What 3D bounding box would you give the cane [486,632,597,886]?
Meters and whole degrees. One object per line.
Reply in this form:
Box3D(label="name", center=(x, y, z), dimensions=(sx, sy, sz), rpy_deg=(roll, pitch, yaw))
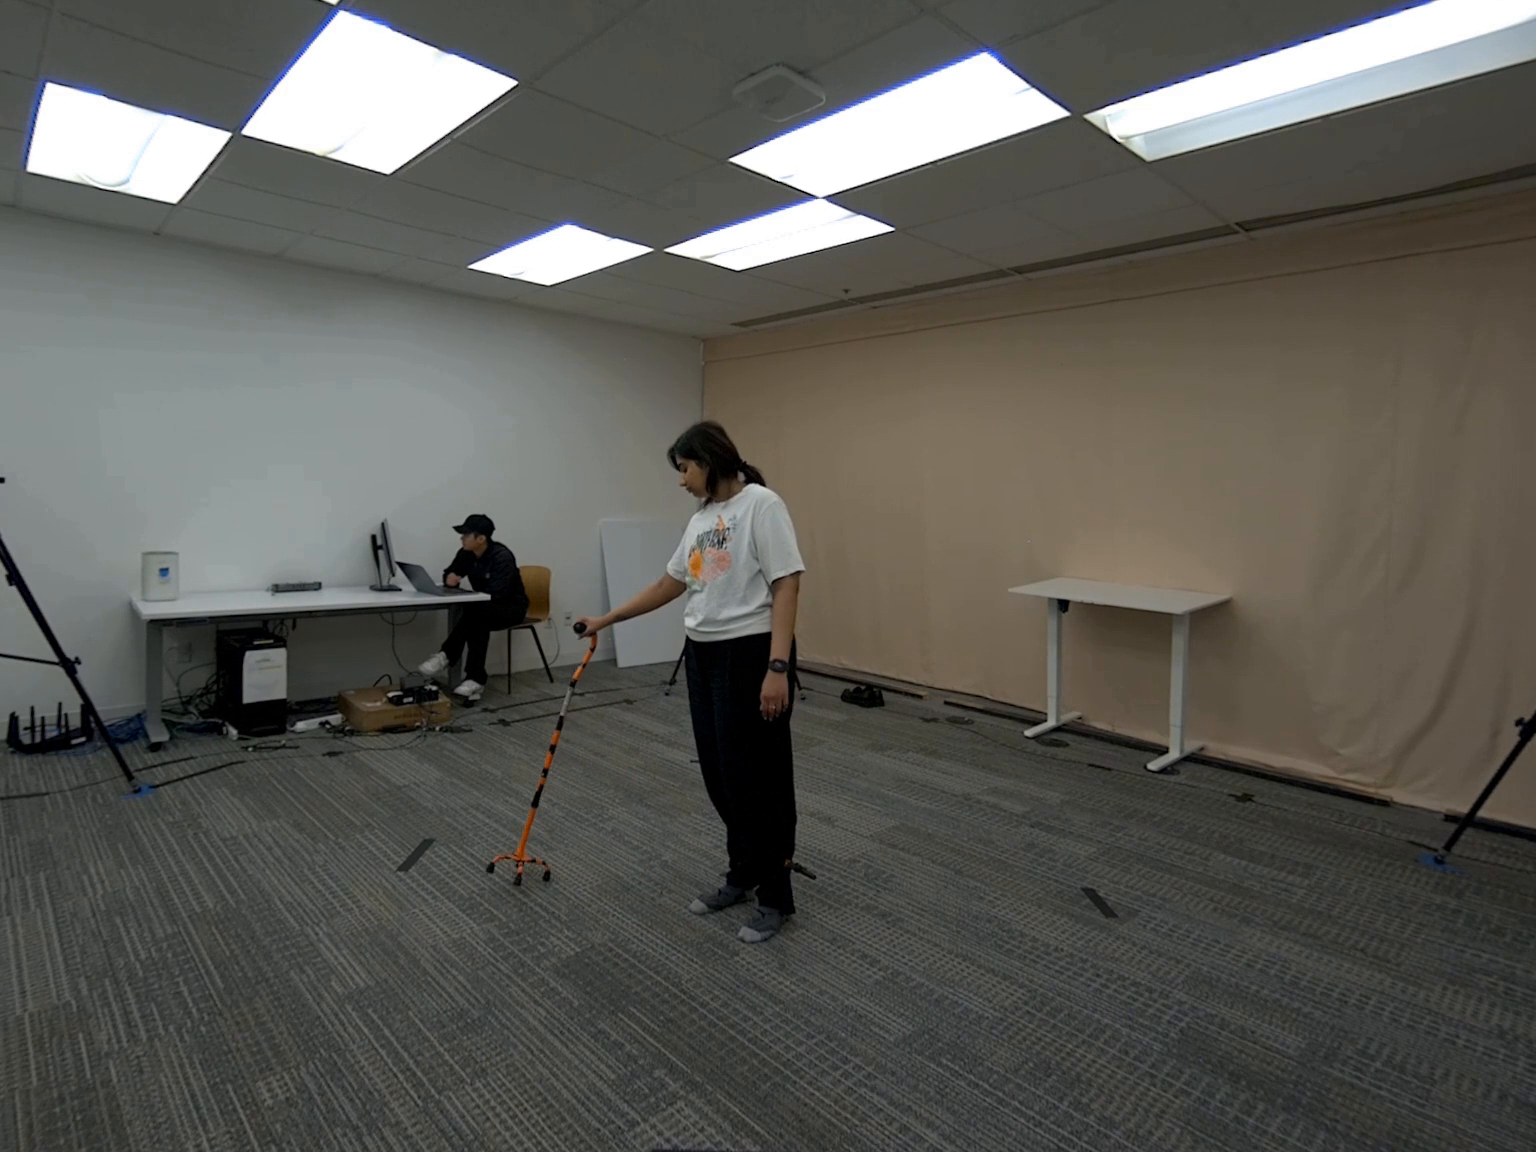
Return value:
Box3D(label="cane", center=(-0.762, 0.627, 3.038), dimensions=(0.154, 0.912, 0.201), rpy_deg=(12, -9, 22))
